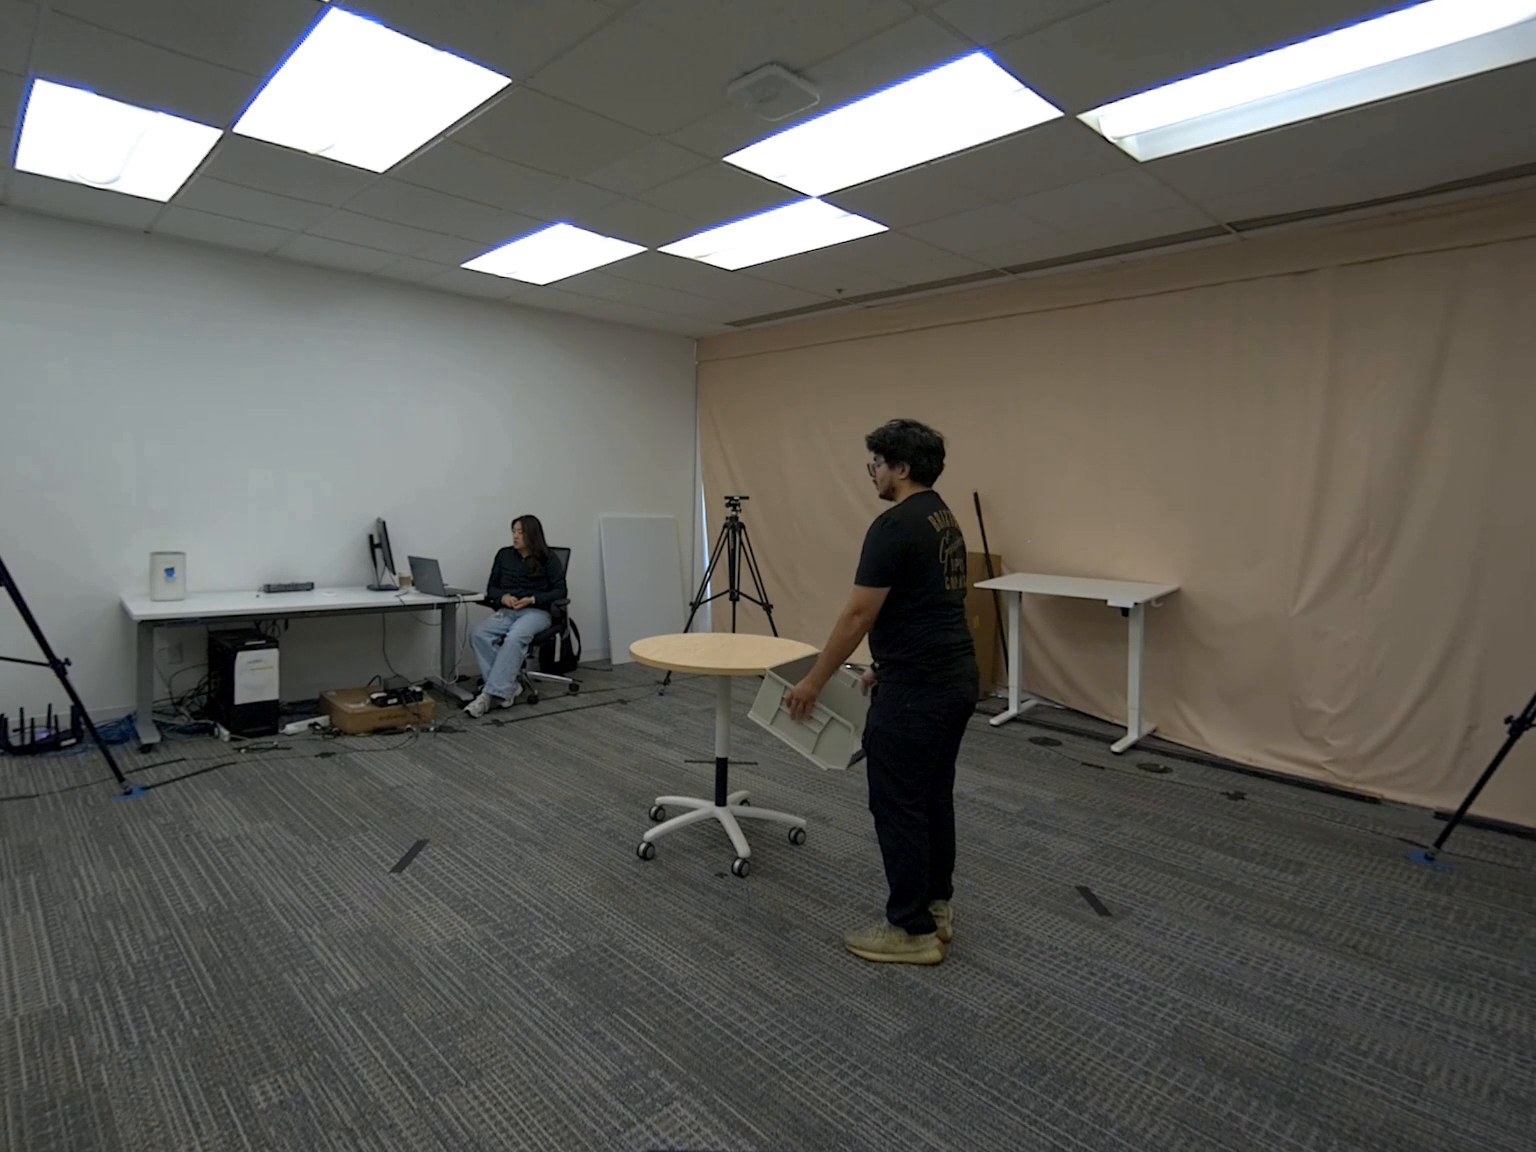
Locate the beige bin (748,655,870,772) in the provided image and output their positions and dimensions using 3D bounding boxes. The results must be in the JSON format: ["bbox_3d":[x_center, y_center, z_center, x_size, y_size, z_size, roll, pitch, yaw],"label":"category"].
[{"bbox_3d":[0.200,0.449,2.807,0.386,0.188,0.414,30,16,24],"label":"beige bin"}]
